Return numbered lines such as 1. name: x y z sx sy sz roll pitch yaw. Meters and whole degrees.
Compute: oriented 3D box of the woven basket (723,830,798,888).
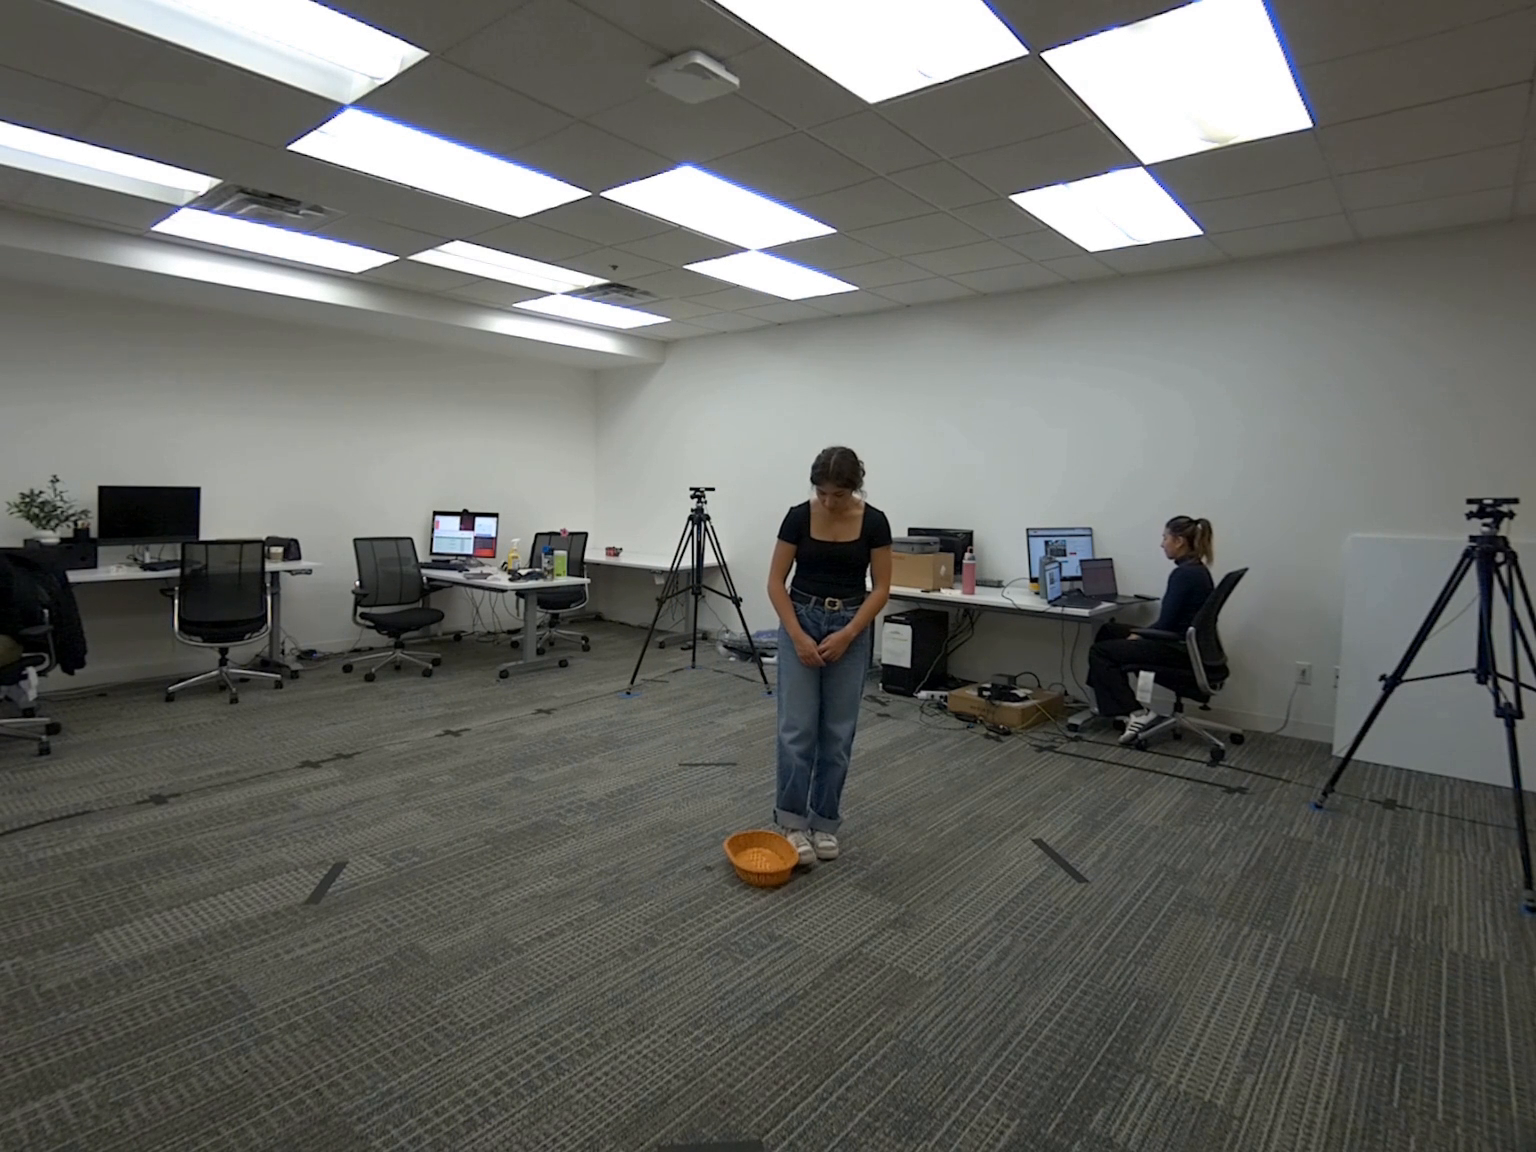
1. woven basket: -0.040 1.025 3.106 0.249 0.073 0.357 -4 6 -14
